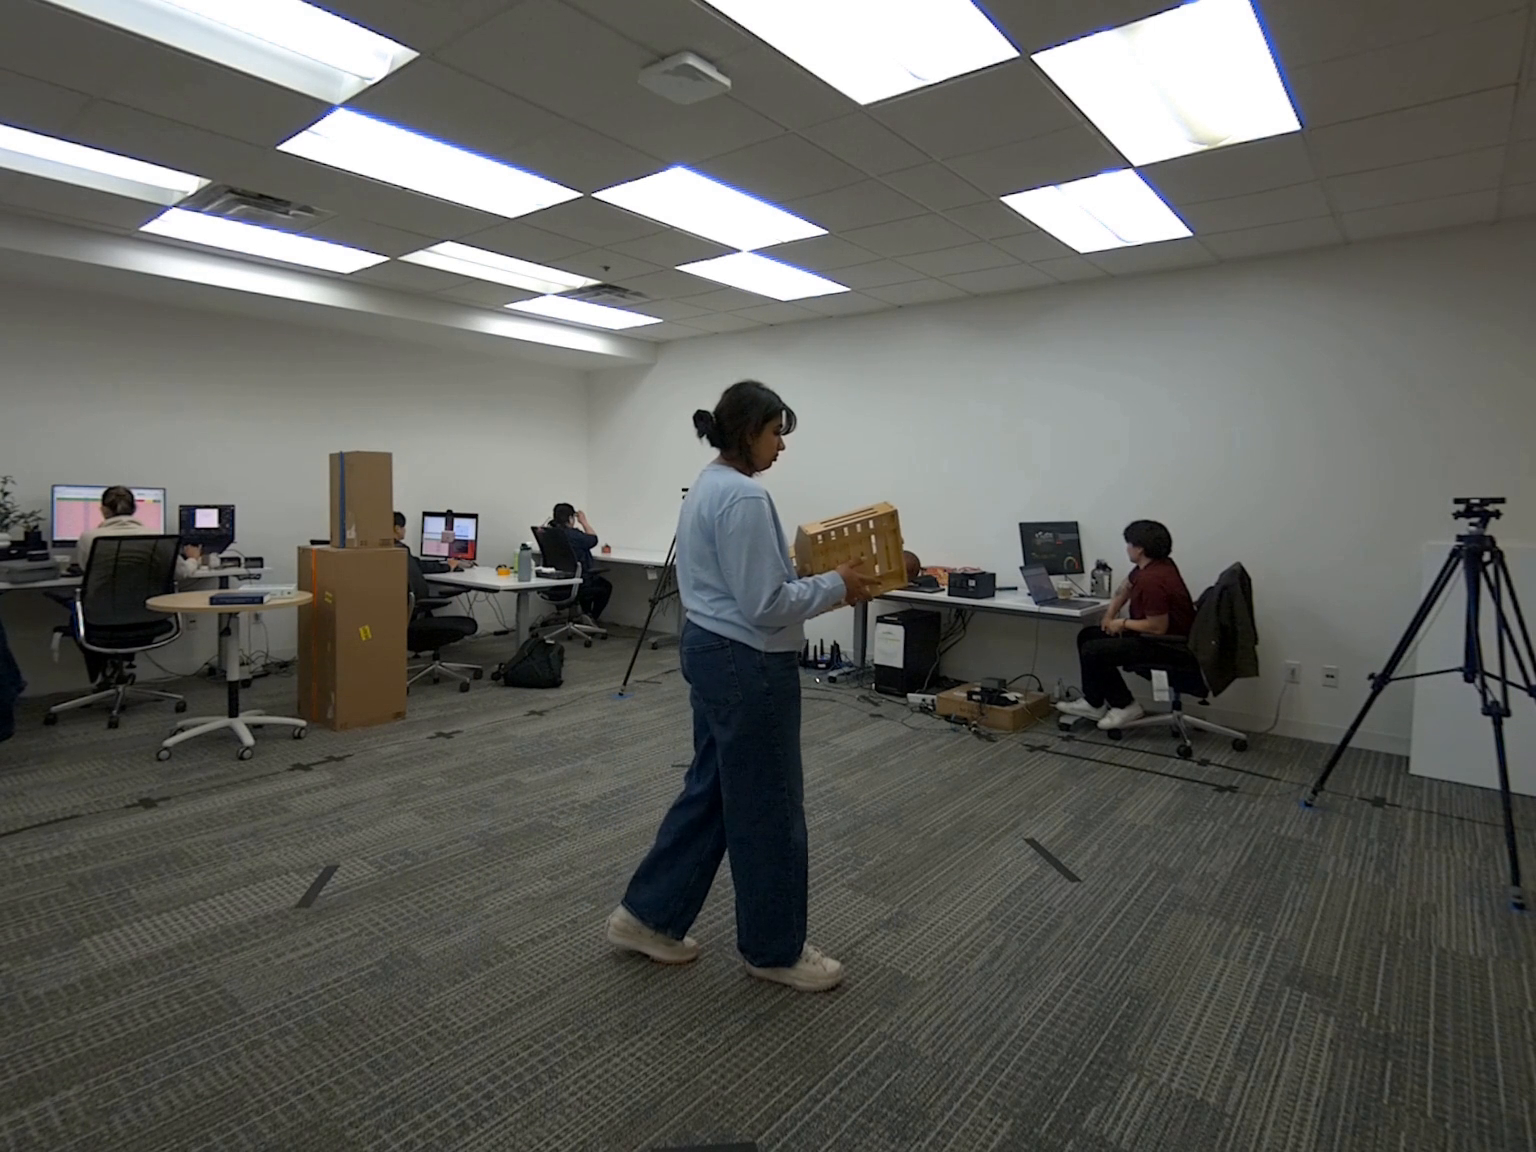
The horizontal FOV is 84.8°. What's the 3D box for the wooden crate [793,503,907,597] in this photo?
[{"bbox_3d":[0.187,-0.049,2.525,0.319,0.298,0.282,-16,14,-23],"label":"wooden crate"}]
